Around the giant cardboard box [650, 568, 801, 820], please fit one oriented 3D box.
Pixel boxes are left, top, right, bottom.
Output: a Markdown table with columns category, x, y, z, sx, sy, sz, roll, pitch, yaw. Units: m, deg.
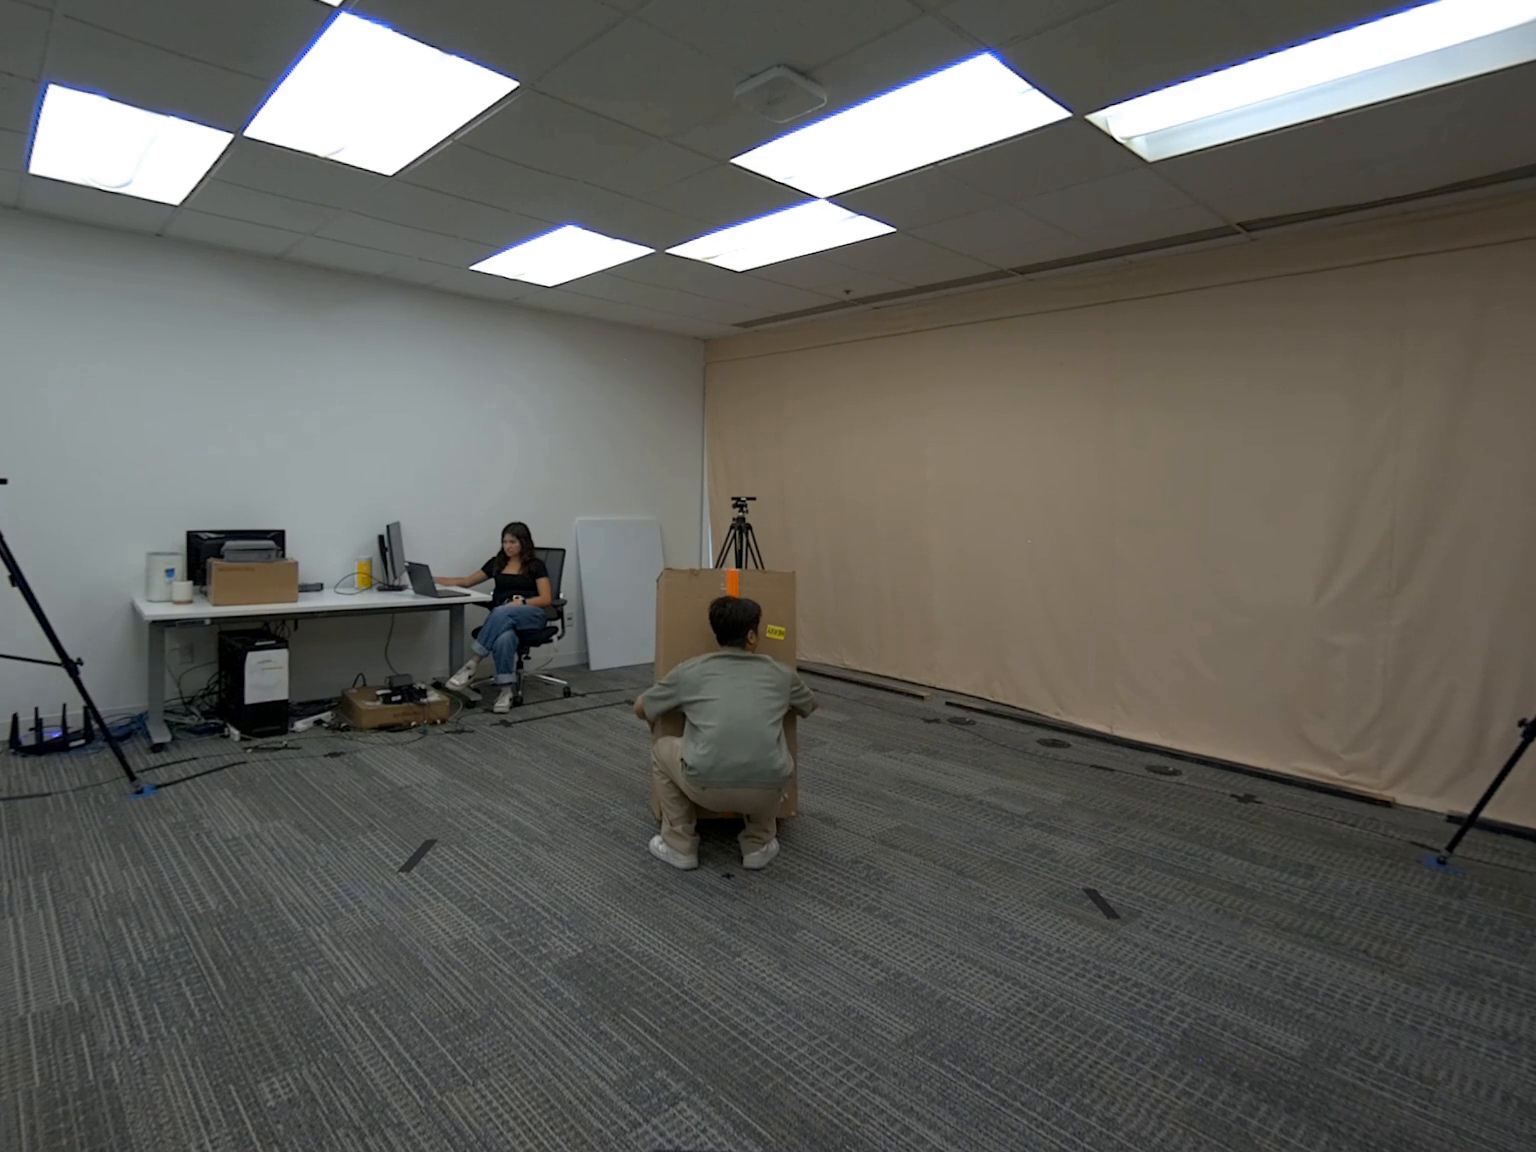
| category | x | y | z | sx | sy | sz | roll | pitch | yaw |
| --- | --- | --- | --- | --- | --- | --- | --- | --- | --- |
| giant cardboard box | -0.197 | 0.496 | 3.709 | 0.574 | 1.032 | 0.426 | 1 | -8 | -8 |
